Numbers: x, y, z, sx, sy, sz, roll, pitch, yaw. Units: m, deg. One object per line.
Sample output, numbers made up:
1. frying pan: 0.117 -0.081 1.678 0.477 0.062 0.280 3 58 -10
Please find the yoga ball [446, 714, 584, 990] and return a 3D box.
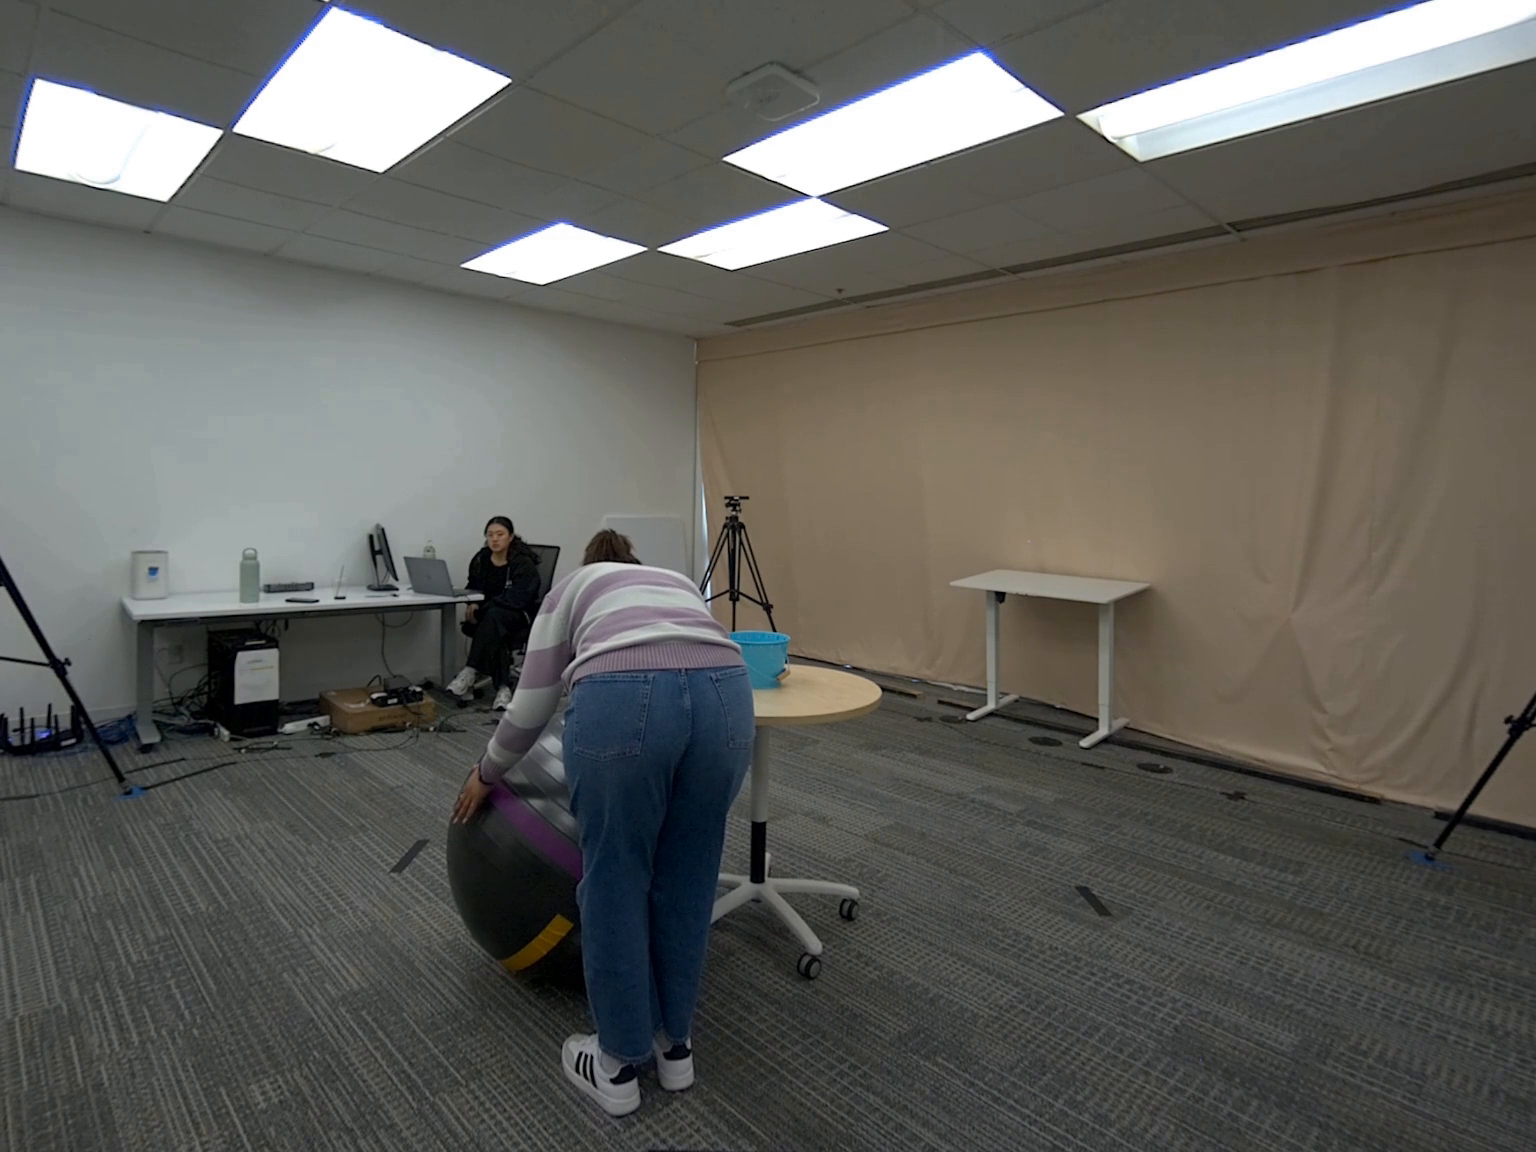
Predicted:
1. yoga ball: -0.571 0.779 2.491 0.757 0.756 0.761 1 4 -1
